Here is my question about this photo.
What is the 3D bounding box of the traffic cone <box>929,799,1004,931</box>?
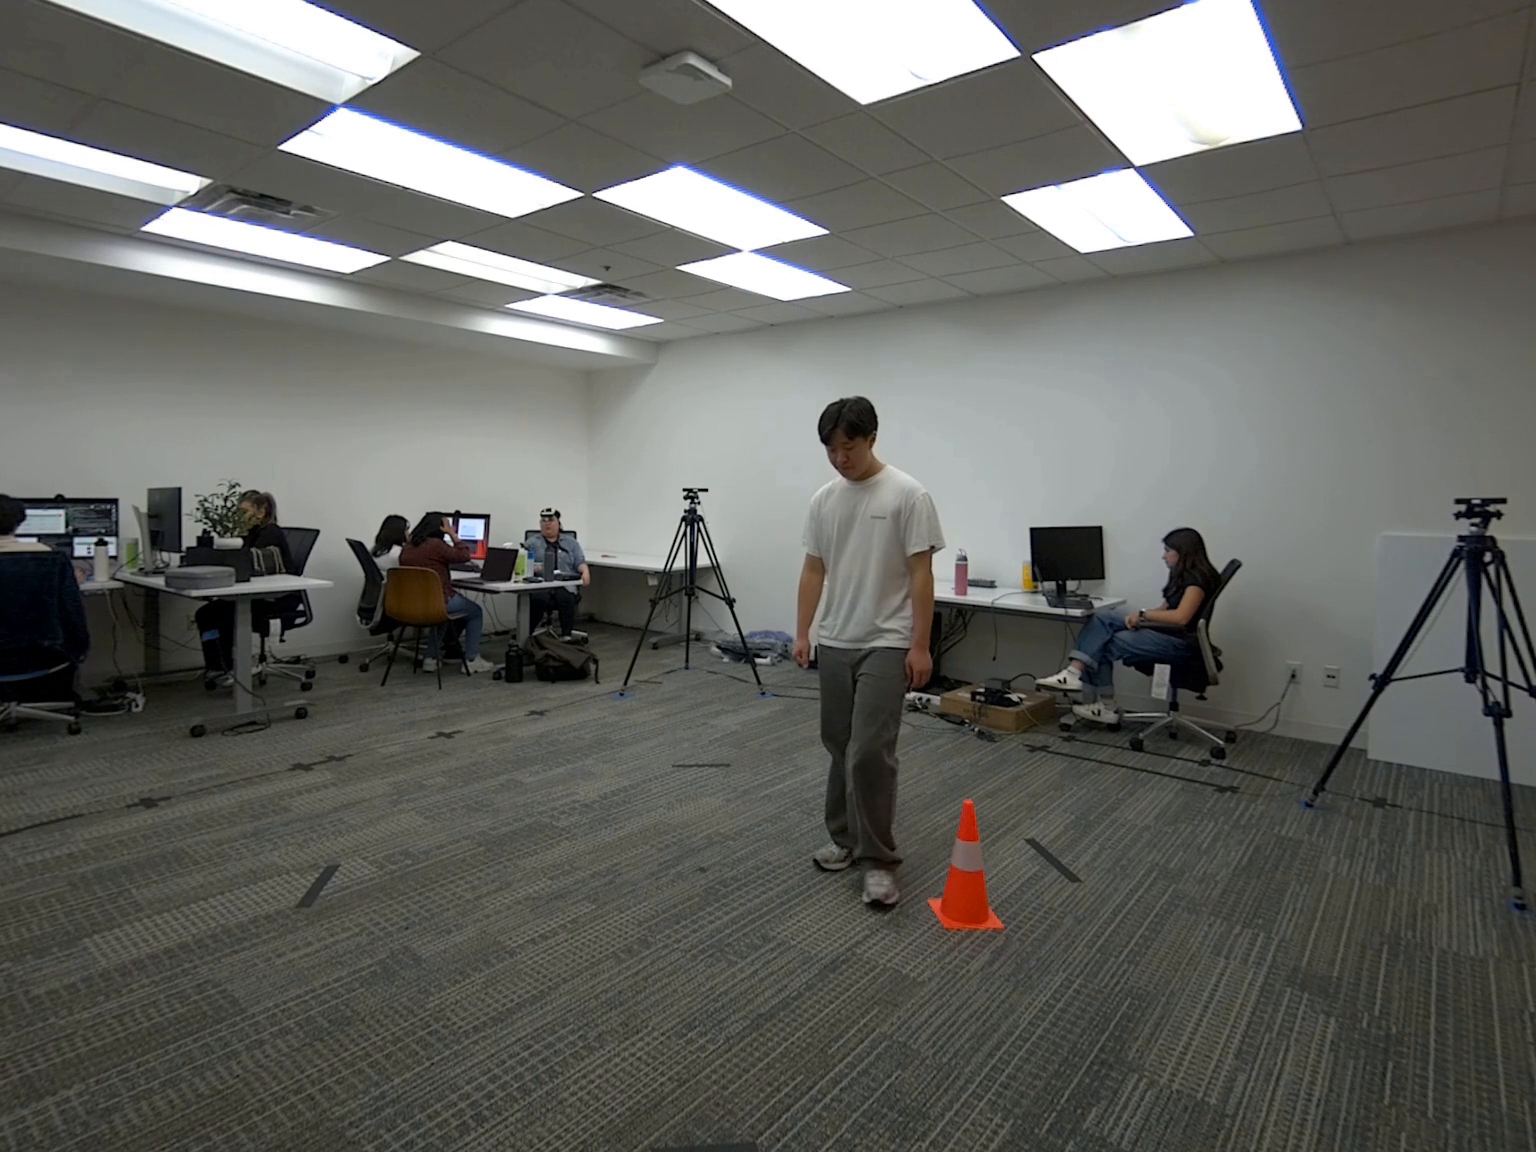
[{"bbox_3d":[0.673,0.928,2.818,0.204,0.382,0.206,1,5,-7],"label":"traffic cone"}]
